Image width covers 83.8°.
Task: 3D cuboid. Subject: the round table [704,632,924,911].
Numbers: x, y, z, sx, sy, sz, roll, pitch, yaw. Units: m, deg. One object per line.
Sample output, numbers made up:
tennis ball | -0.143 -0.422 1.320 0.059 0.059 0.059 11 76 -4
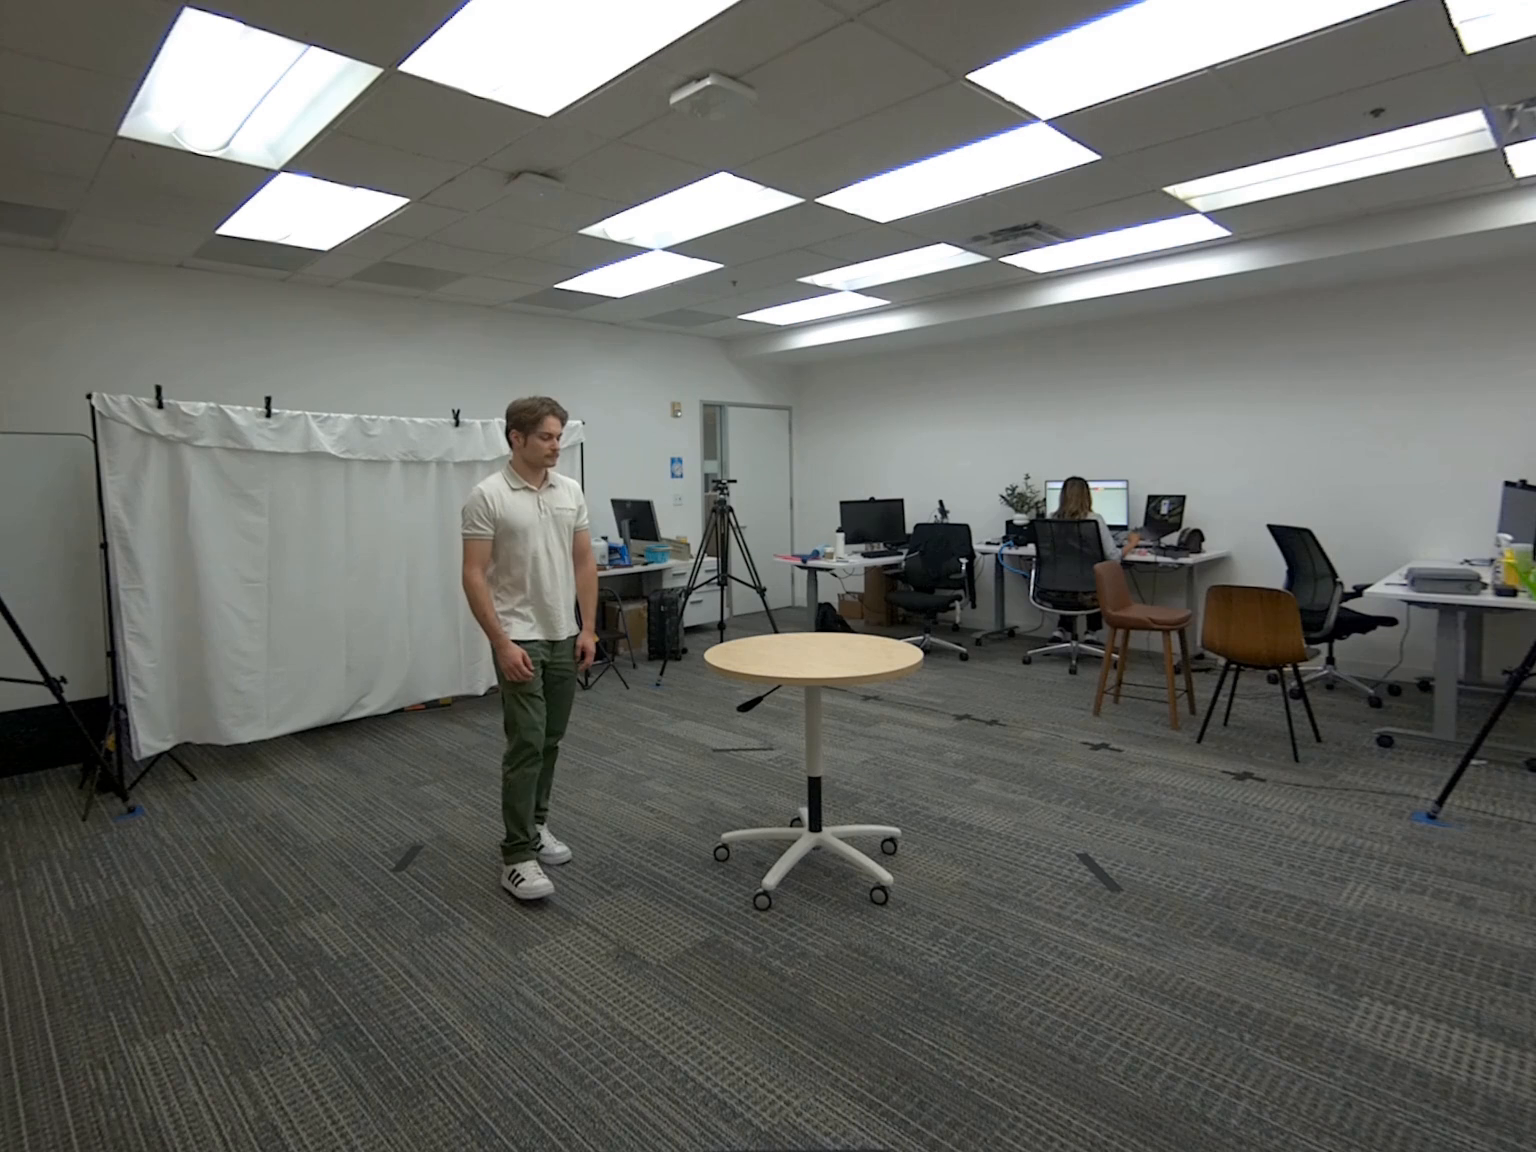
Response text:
round table | 0.174 0.656 3.039 0.785 0.783 0.789 -2 5 -1
